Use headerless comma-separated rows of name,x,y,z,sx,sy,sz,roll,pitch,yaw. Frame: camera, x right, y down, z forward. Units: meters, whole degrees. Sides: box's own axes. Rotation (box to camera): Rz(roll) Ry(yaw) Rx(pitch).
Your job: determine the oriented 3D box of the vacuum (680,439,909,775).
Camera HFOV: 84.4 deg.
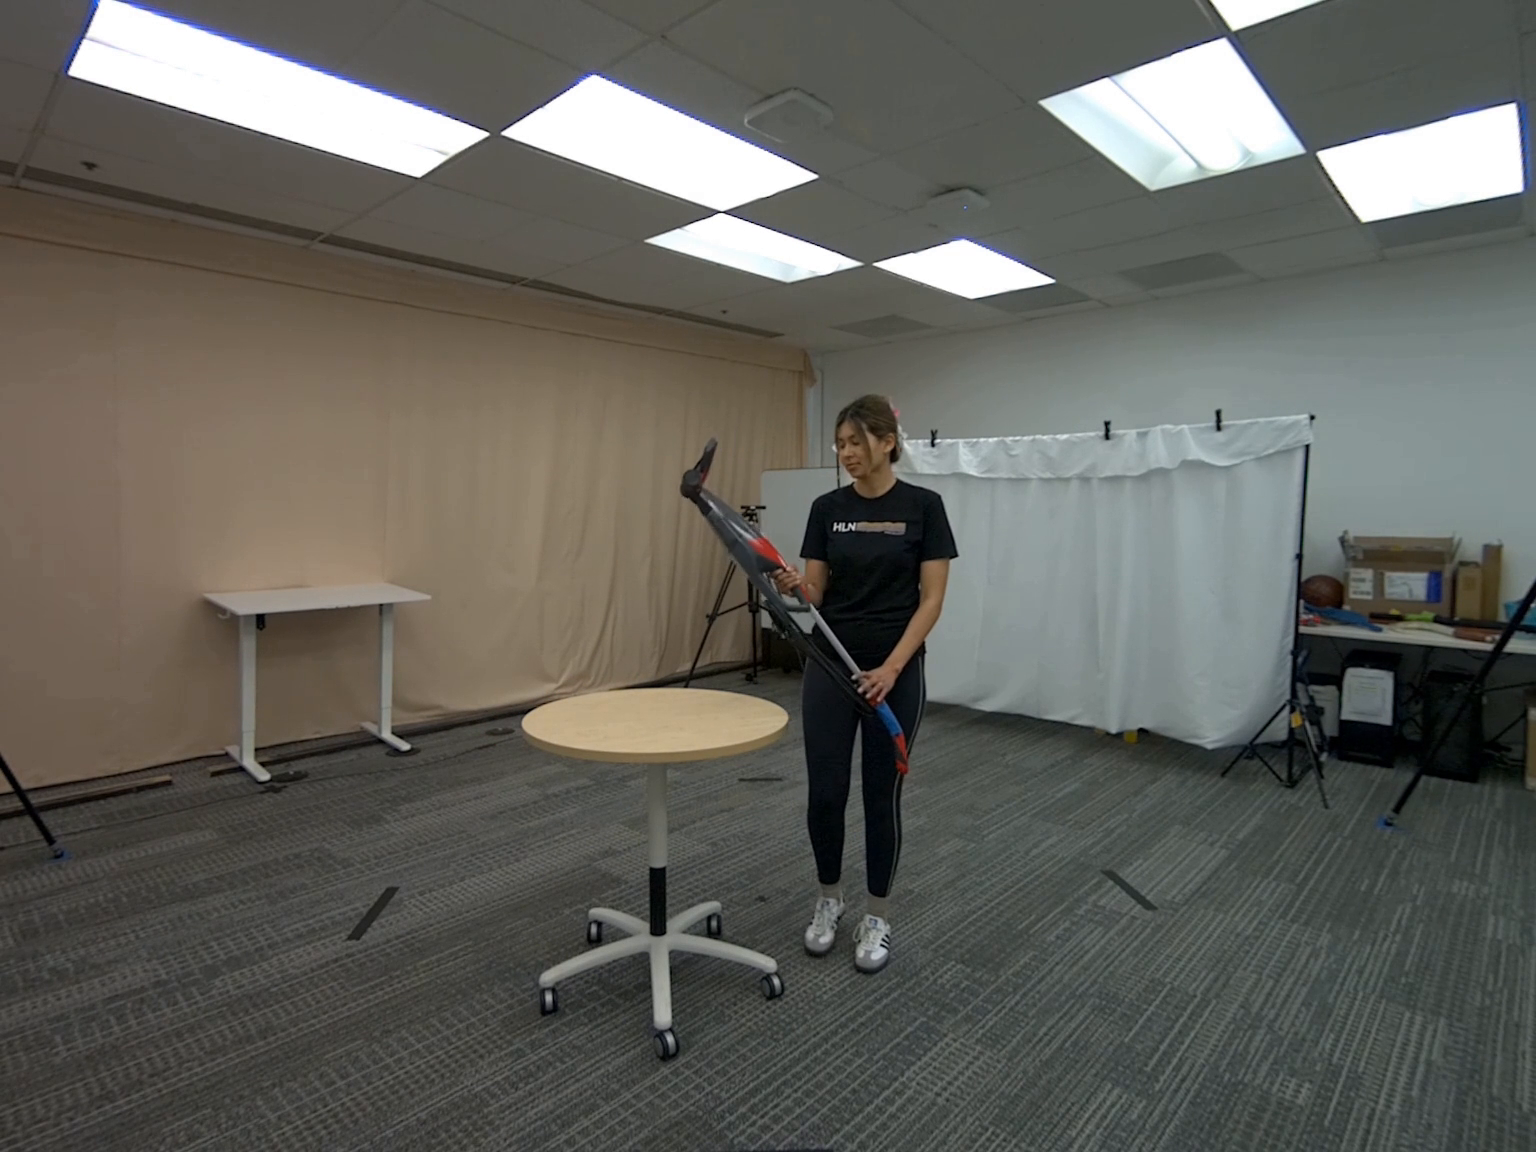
vacuum,0.087,0.111,2.411,0.143,1.058,0.252,-33,-7,-11
